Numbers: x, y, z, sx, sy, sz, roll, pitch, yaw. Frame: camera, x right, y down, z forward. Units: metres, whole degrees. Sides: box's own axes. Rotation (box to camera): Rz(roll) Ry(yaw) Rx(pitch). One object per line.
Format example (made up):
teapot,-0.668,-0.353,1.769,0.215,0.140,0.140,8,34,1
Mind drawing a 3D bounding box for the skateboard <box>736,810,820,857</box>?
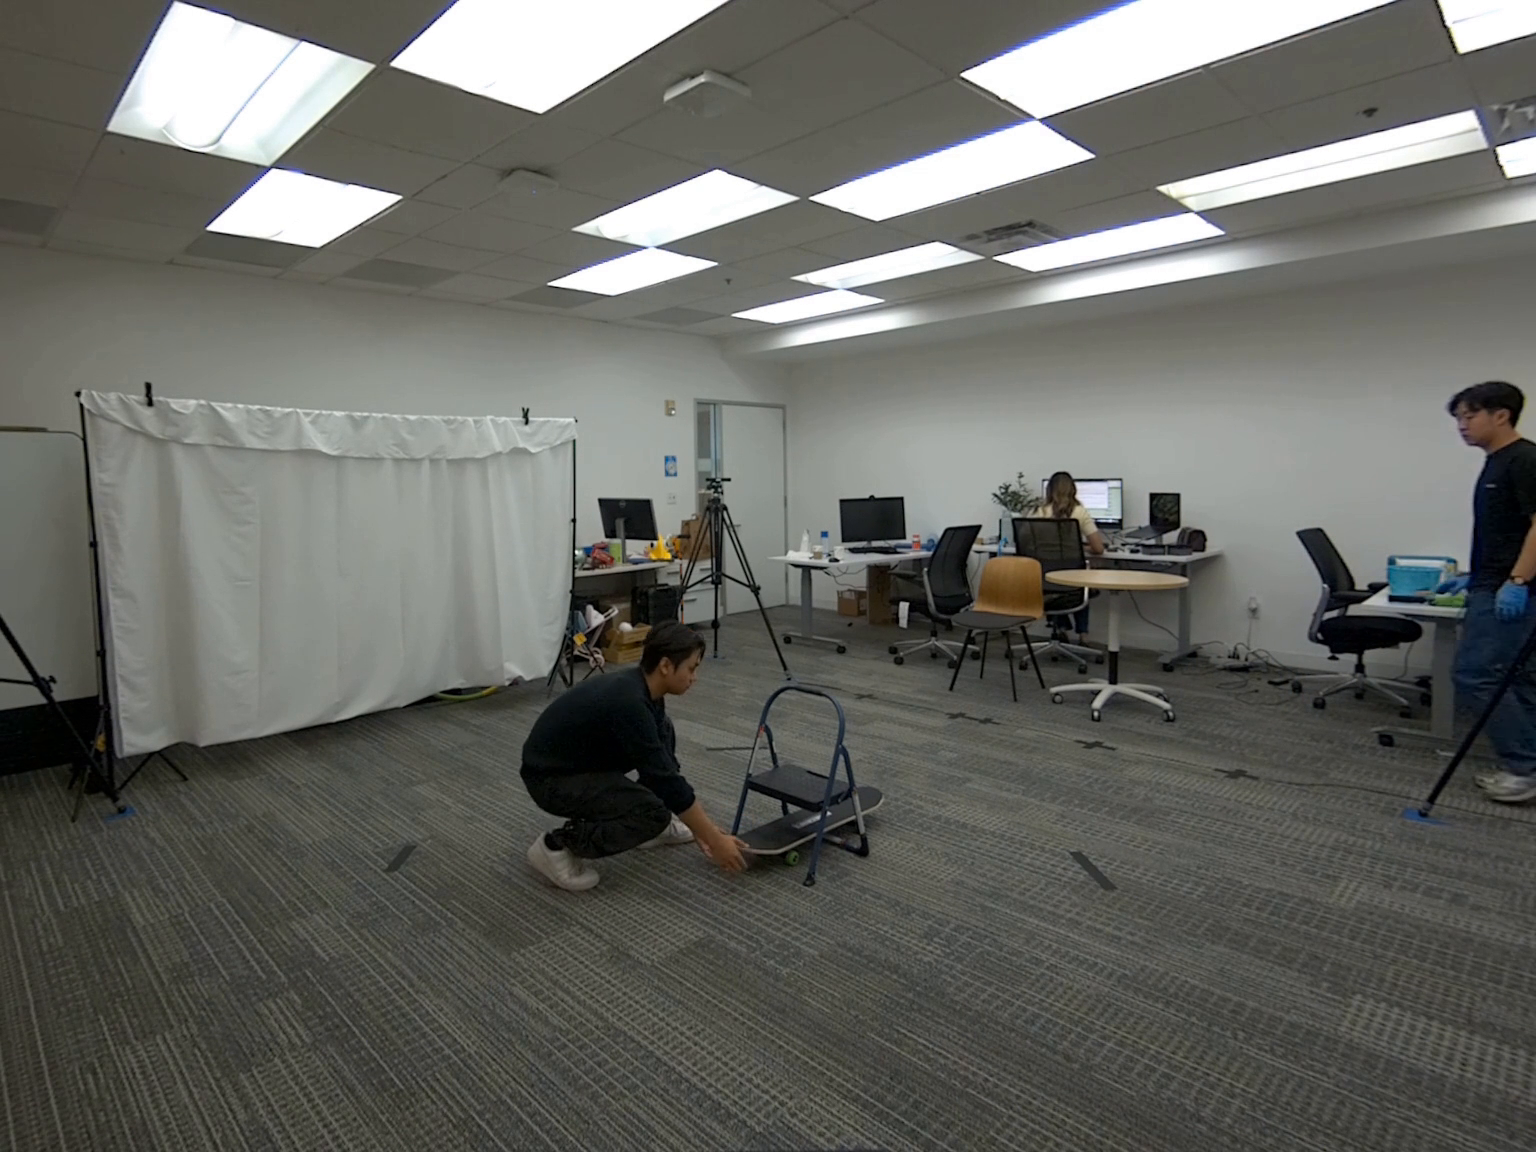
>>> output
skateboard,0.164,0.958,3.275,0.199,0.110,0.765,6,10,45
